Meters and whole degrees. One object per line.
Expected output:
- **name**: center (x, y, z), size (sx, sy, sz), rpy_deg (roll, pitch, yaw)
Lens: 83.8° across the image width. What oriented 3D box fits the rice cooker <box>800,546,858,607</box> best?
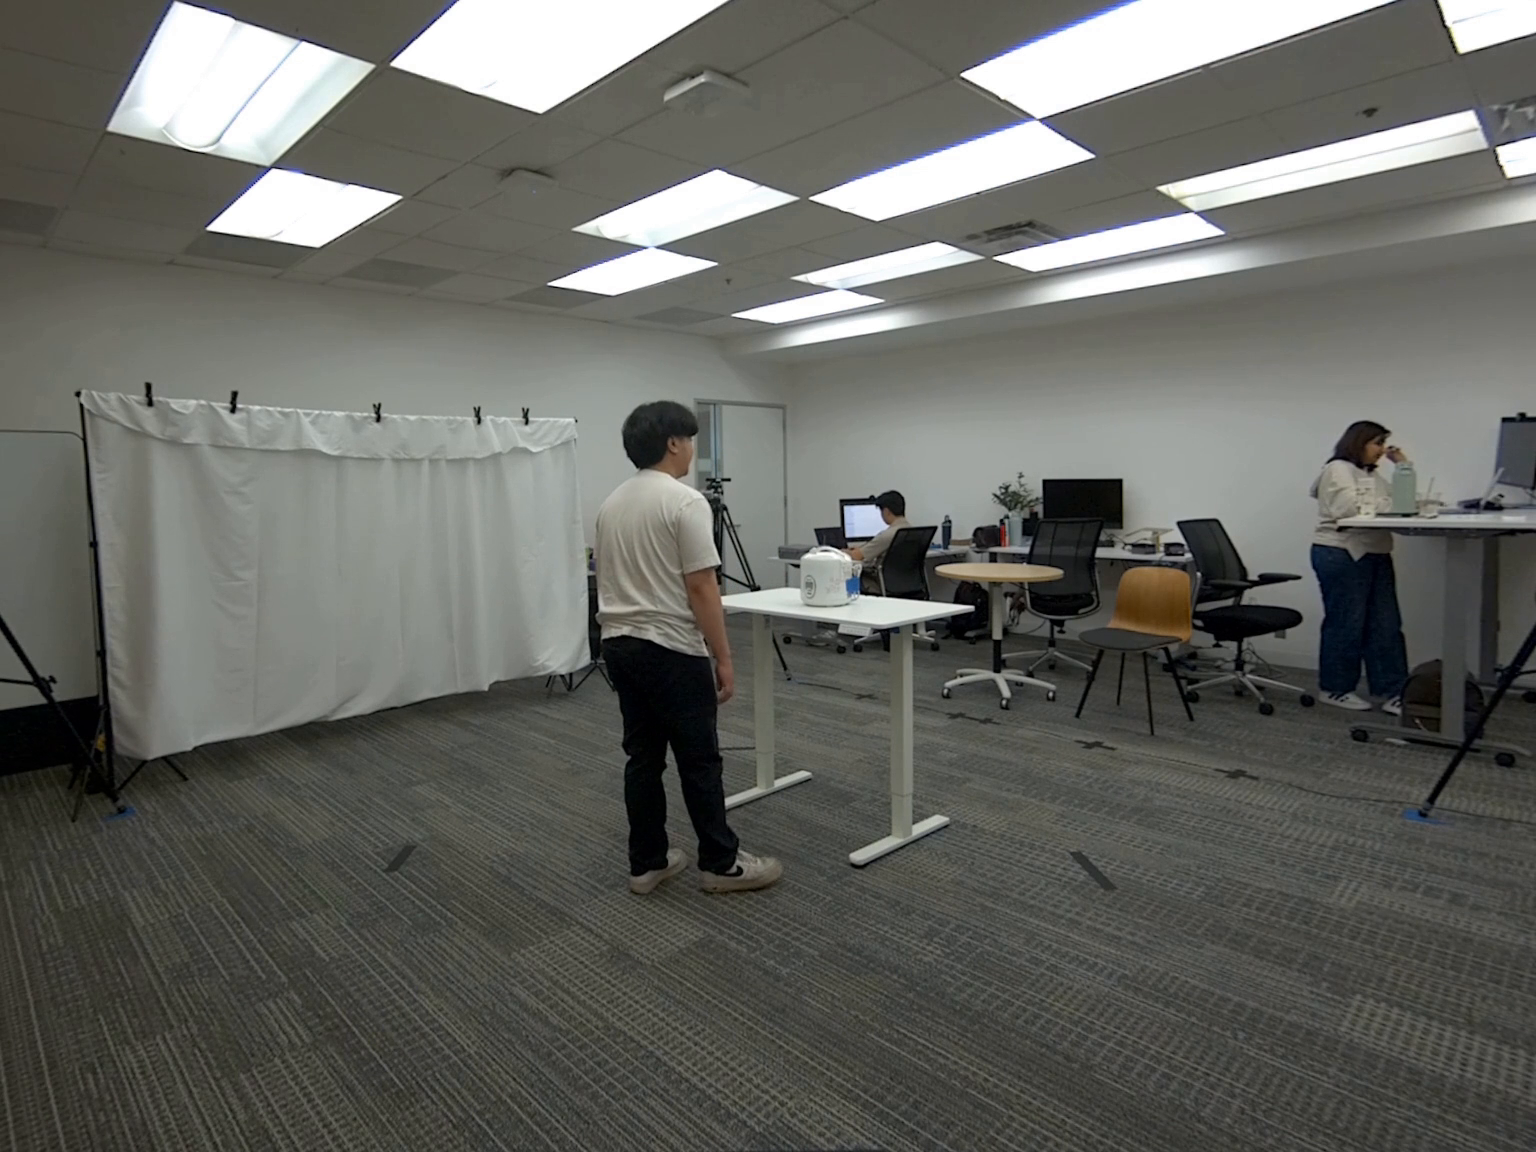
- **rice cooker**: center (0.242, 0.000, 3.442), size (0.227, 0.232, 0.211), rpy_deg (2, 4, 44)
